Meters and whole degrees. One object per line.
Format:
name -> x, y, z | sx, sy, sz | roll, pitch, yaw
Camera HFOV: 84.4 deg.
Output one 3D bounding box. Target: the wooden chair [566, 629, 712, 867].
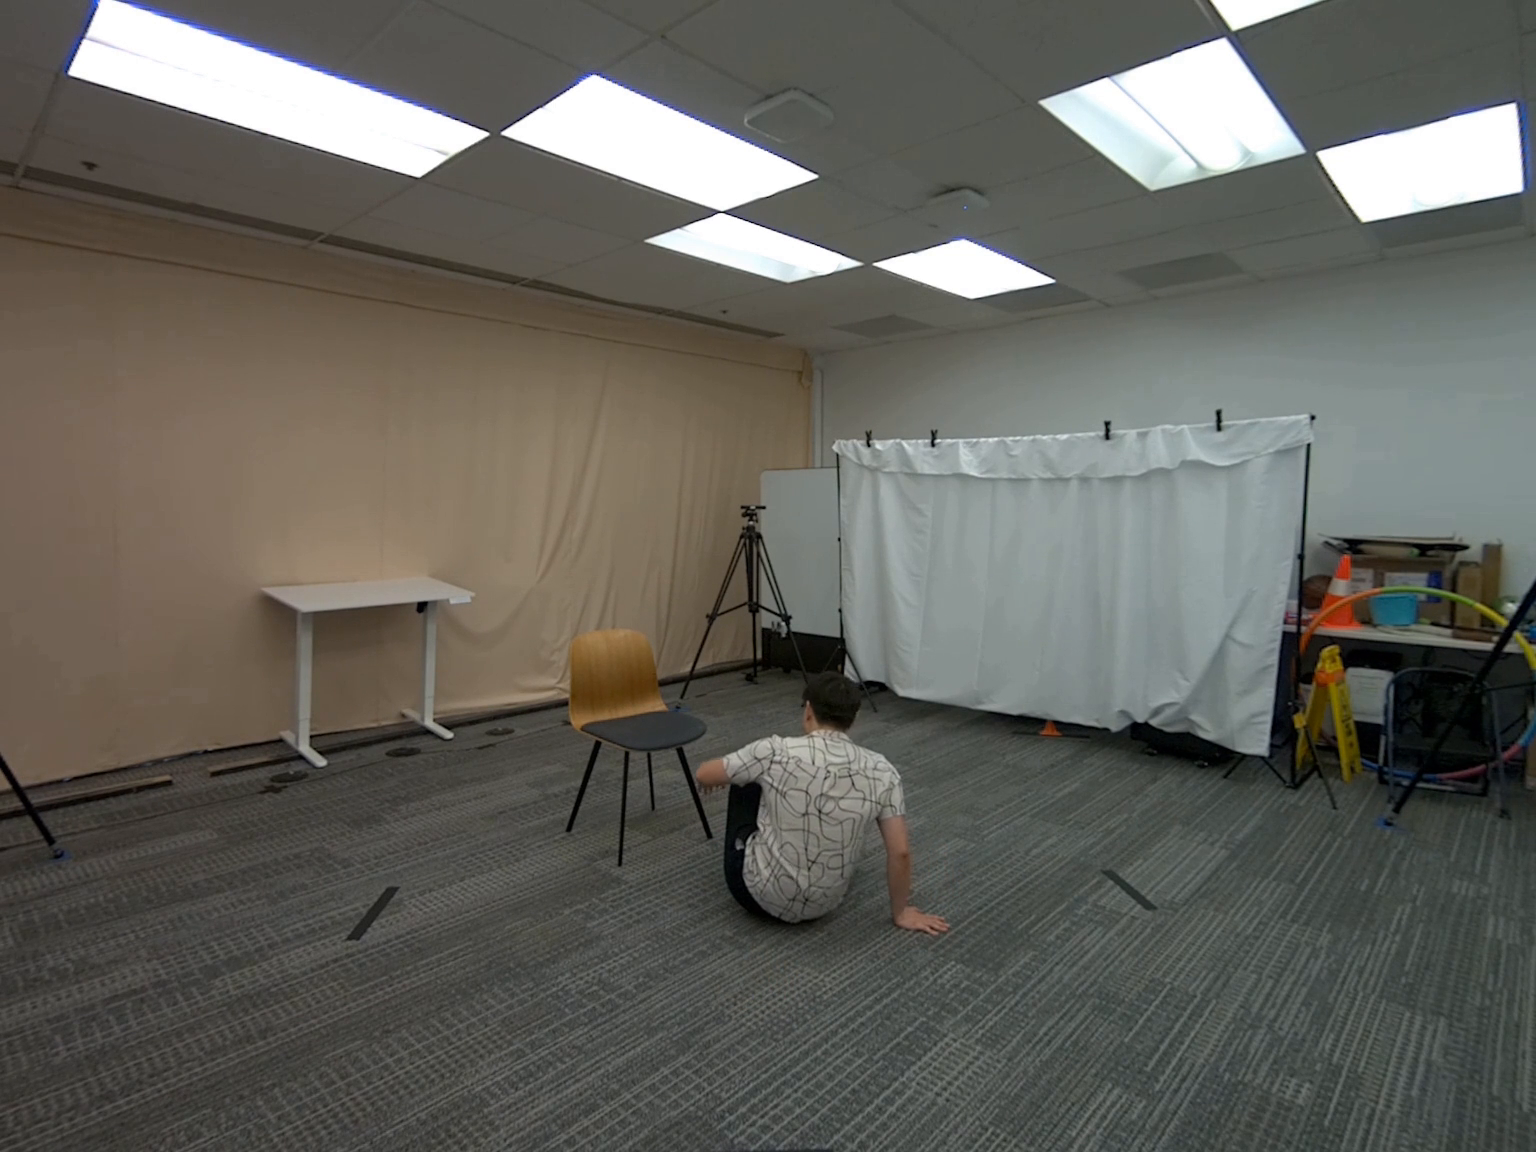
wooden chair -> -0.546, 0.675, 3.538 | 0.464, 0.878, 0.539 | -2, -1, -39
